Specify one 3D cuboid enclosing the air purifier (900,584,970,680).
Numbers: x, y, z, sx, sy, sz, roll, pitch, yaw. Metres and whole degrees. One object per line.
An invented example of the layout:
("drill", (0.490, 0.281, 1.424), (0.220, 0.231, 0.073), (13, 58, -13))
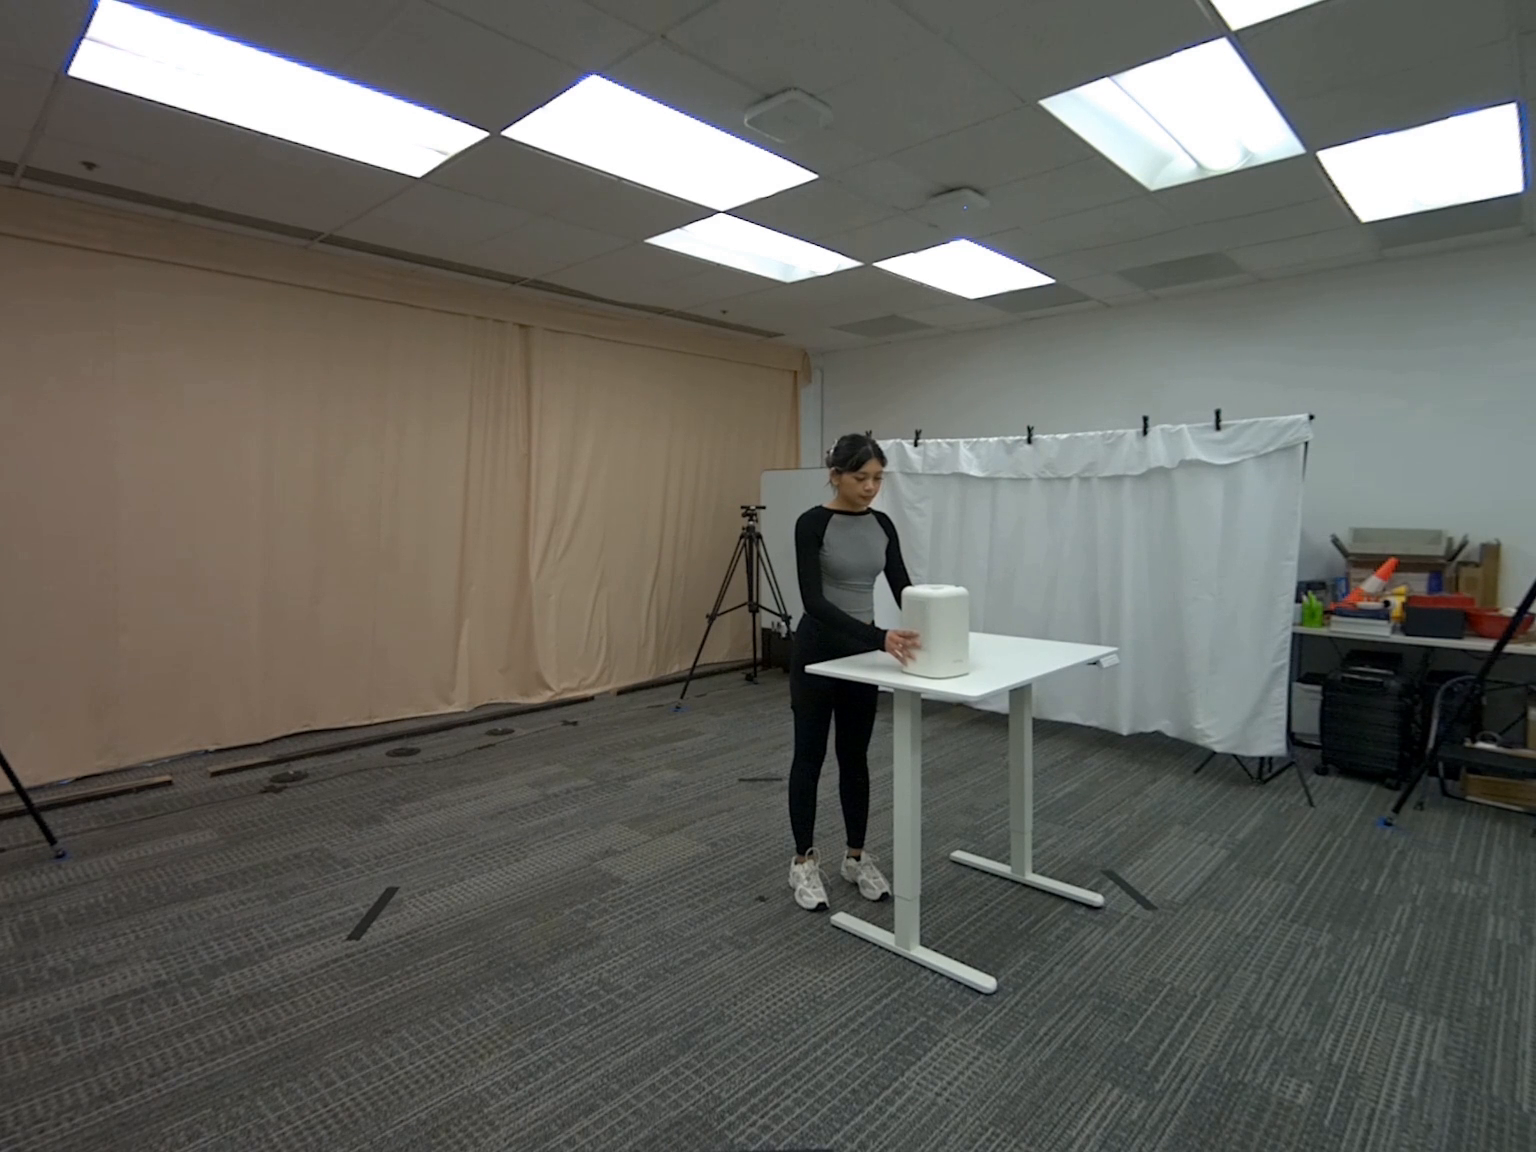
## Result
("air purifier", (0.513, 0.163, 2.571), (0.166, 0.264, 0.177), (-5, 5, -34))
